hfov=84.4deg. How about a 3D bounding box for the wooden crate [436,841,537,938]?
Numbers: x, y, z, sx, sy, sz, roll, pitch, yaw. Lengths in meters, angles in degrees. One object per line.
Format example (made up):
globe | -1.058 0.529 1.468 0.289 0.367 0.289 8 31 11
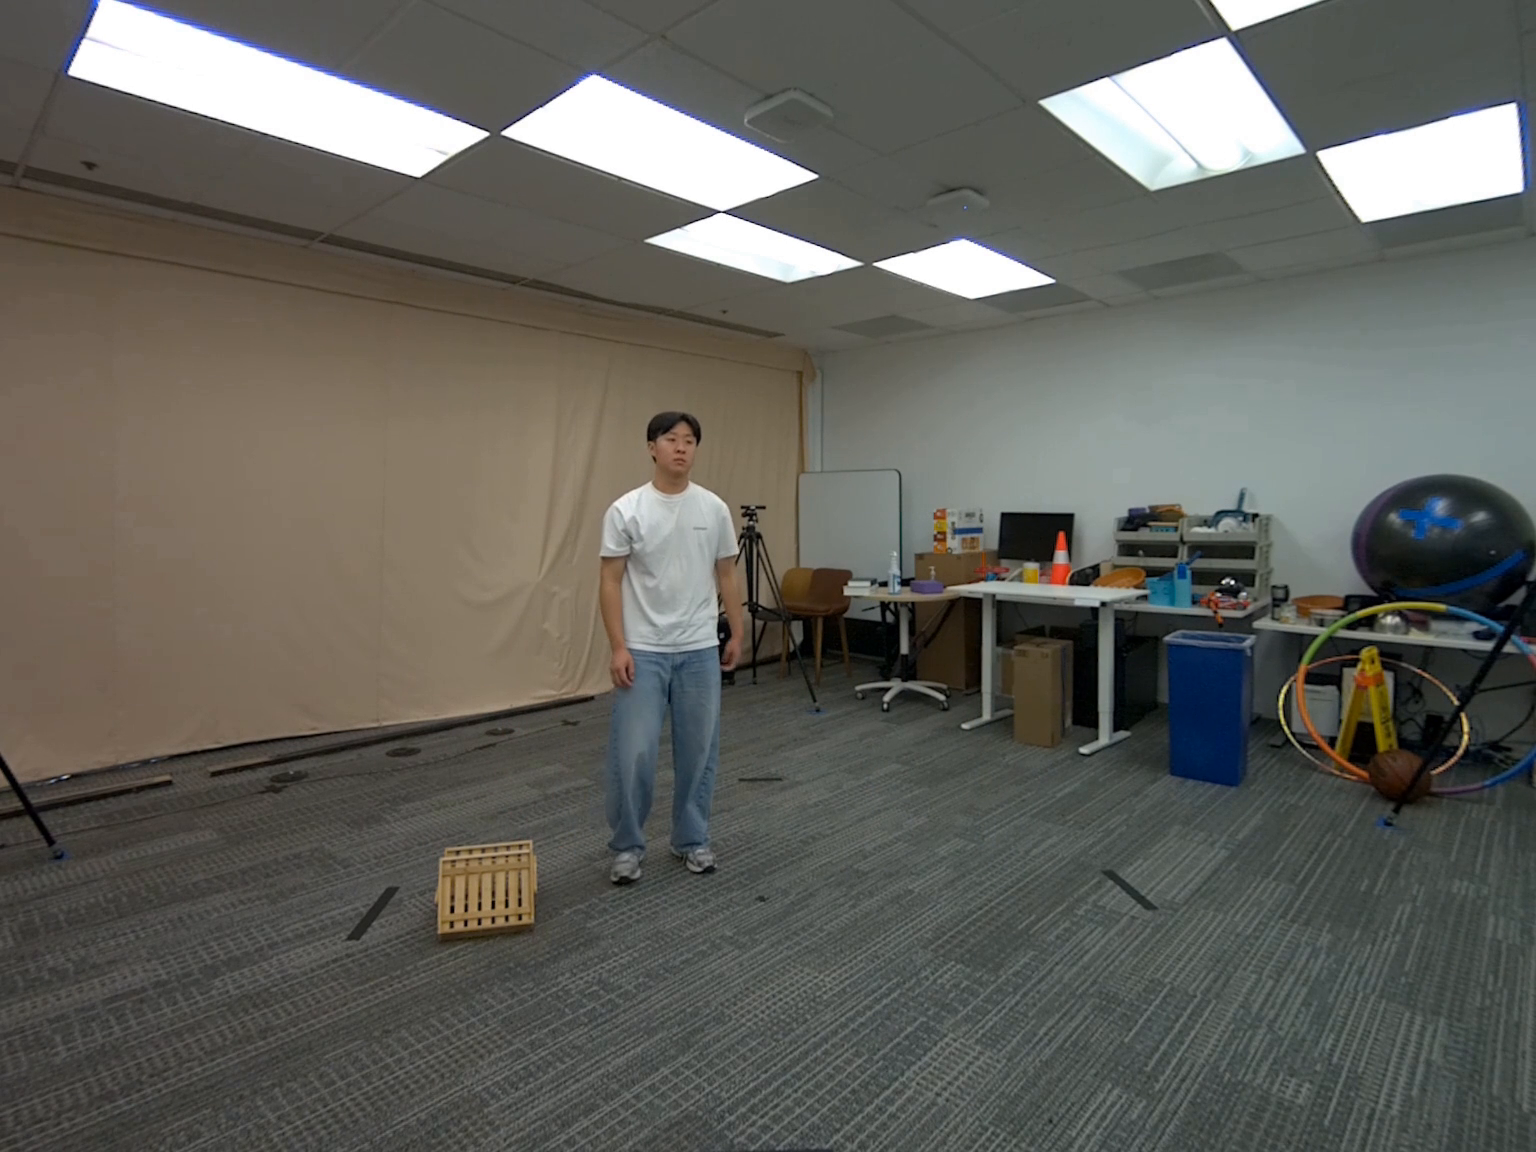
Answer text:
wooden crate | -0.958 1.073 2.874 0.320 0.307 0.273 -1 -24 -14
